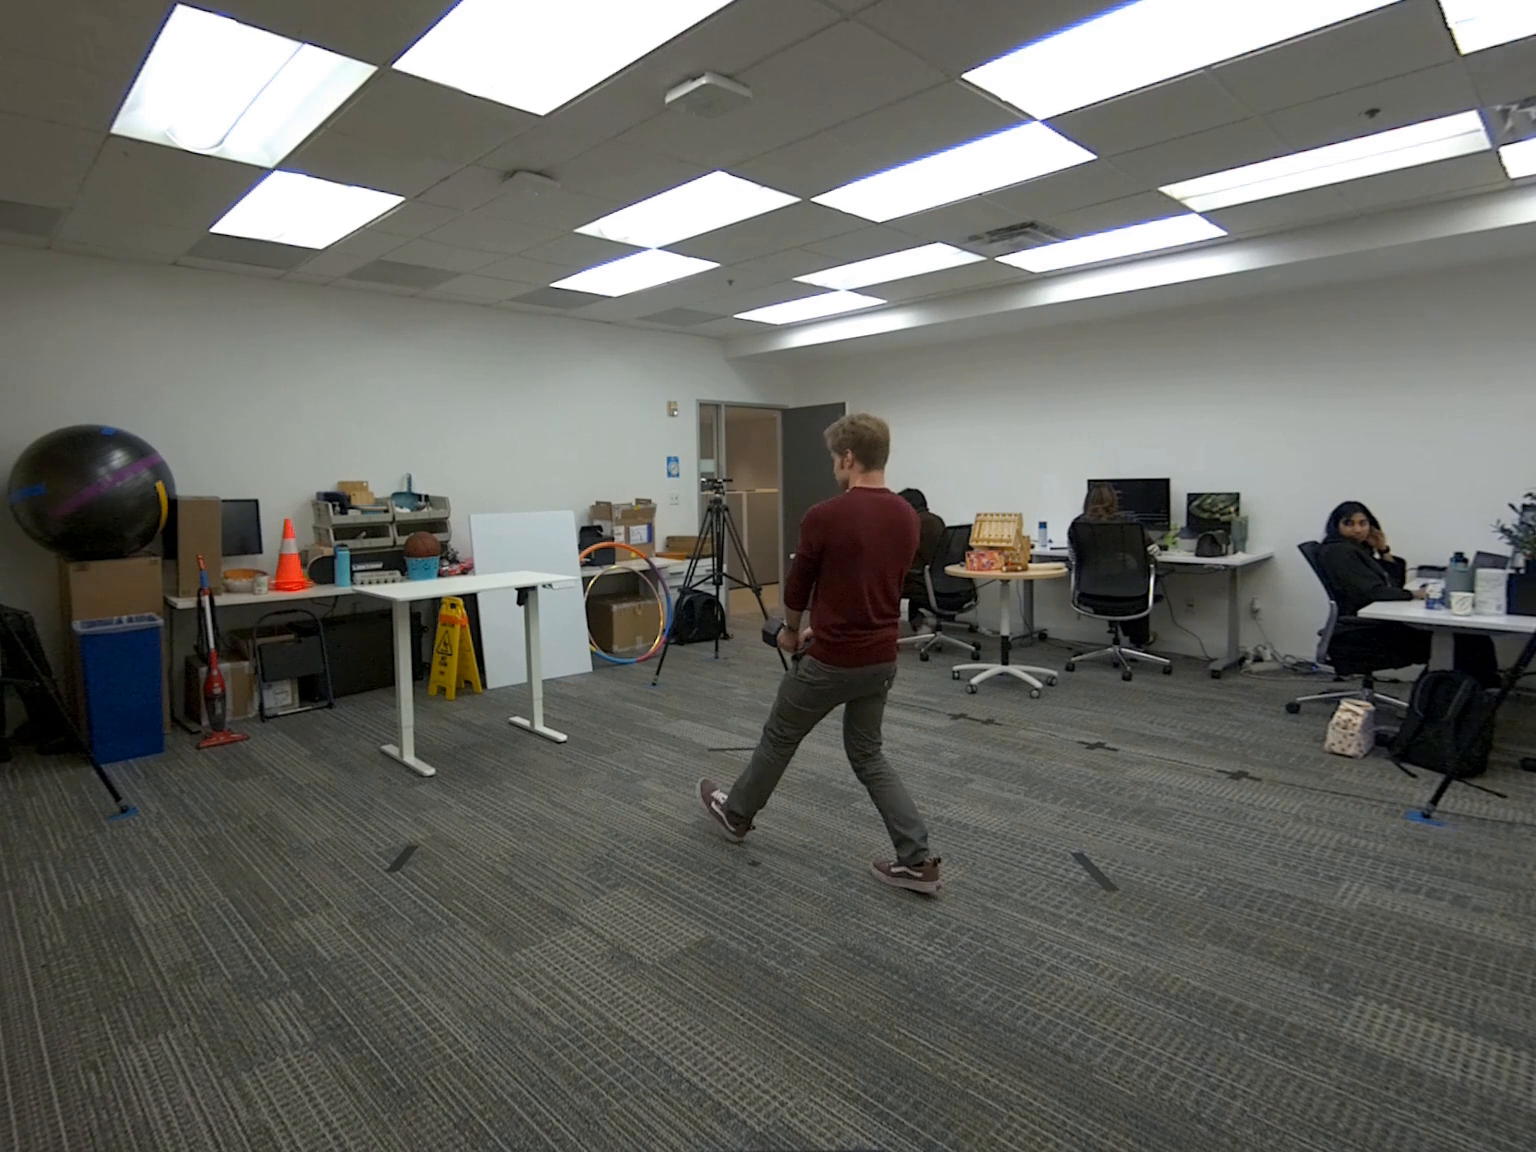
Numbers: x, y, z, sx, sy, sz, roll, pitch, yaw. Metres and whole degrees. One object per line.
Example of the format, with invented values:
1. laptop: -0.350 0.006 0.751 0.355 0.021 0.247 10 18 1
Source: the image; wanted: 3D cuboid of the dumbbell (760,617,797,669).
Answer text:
1. dumbbell: 0.108 0.259 3.267 0.305 0.123 0.104 28 -18 41
